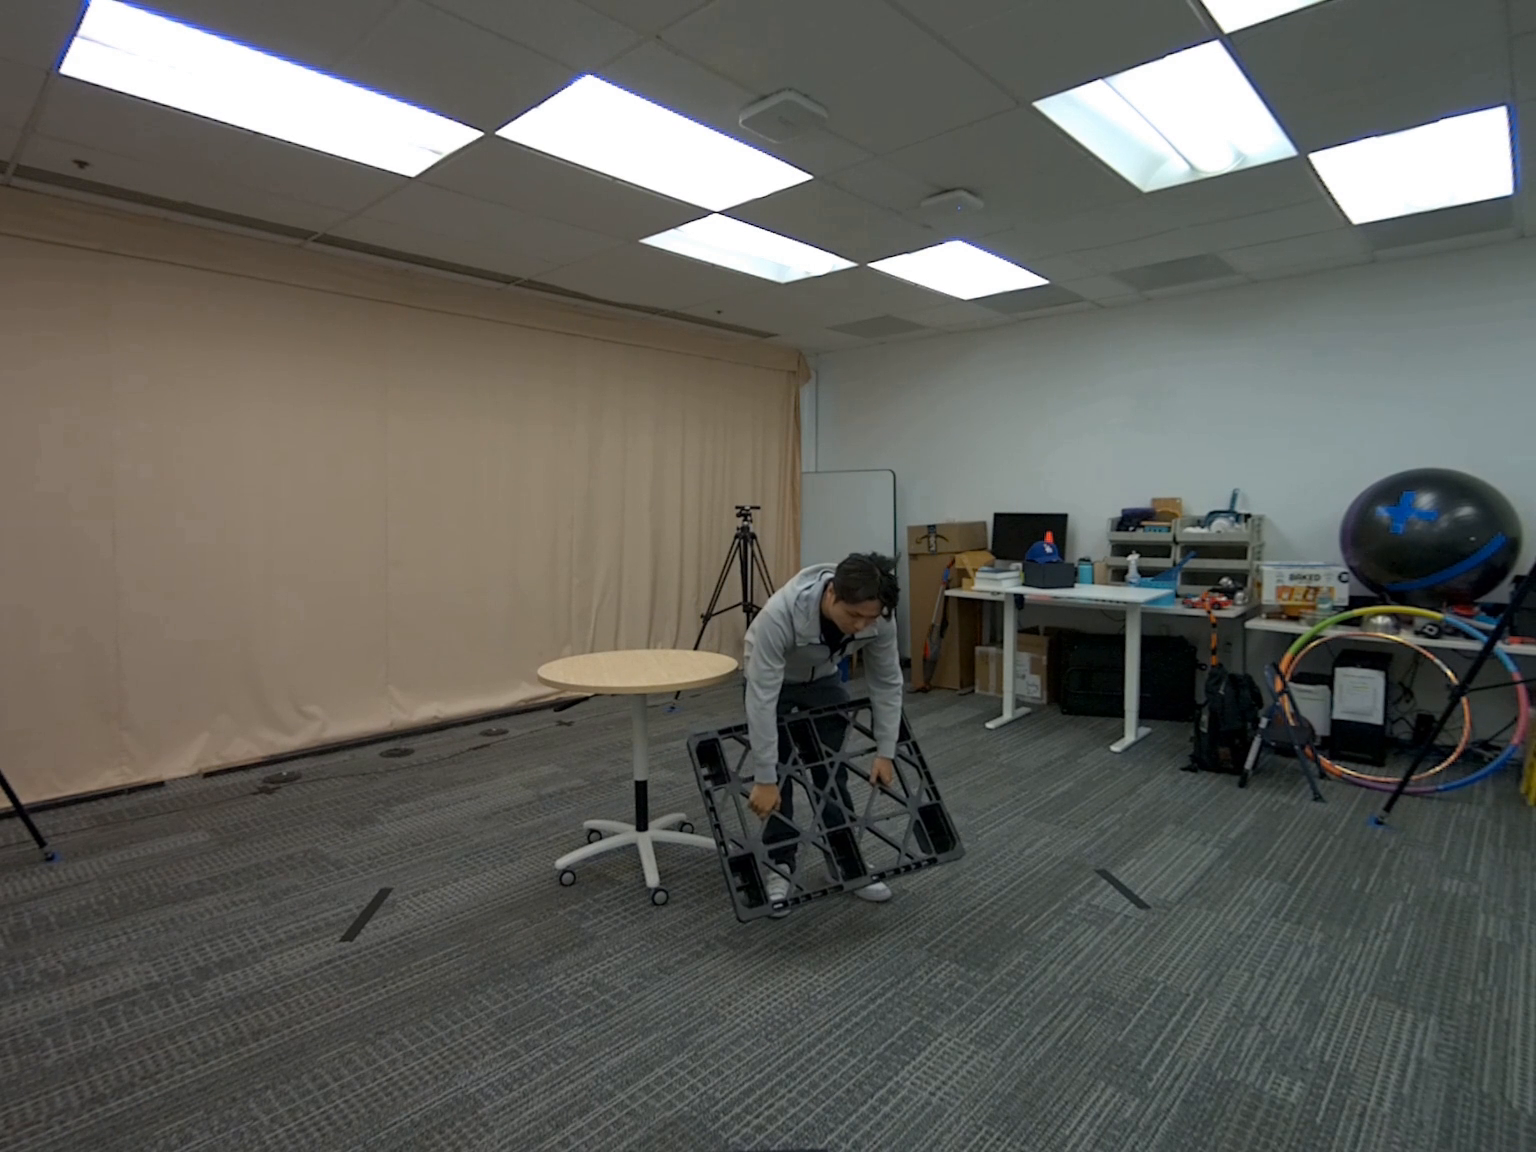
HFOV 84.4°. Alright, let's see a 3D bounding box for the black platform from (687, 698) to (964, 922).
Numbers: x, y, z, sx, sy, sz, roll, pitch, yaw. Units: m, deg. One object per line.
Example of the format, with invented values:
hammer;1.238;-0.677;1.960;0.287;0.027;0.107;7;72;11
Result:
black platform;0.177;0.753;2.821;0.792;0.620;0.142;-9;-33;-18
